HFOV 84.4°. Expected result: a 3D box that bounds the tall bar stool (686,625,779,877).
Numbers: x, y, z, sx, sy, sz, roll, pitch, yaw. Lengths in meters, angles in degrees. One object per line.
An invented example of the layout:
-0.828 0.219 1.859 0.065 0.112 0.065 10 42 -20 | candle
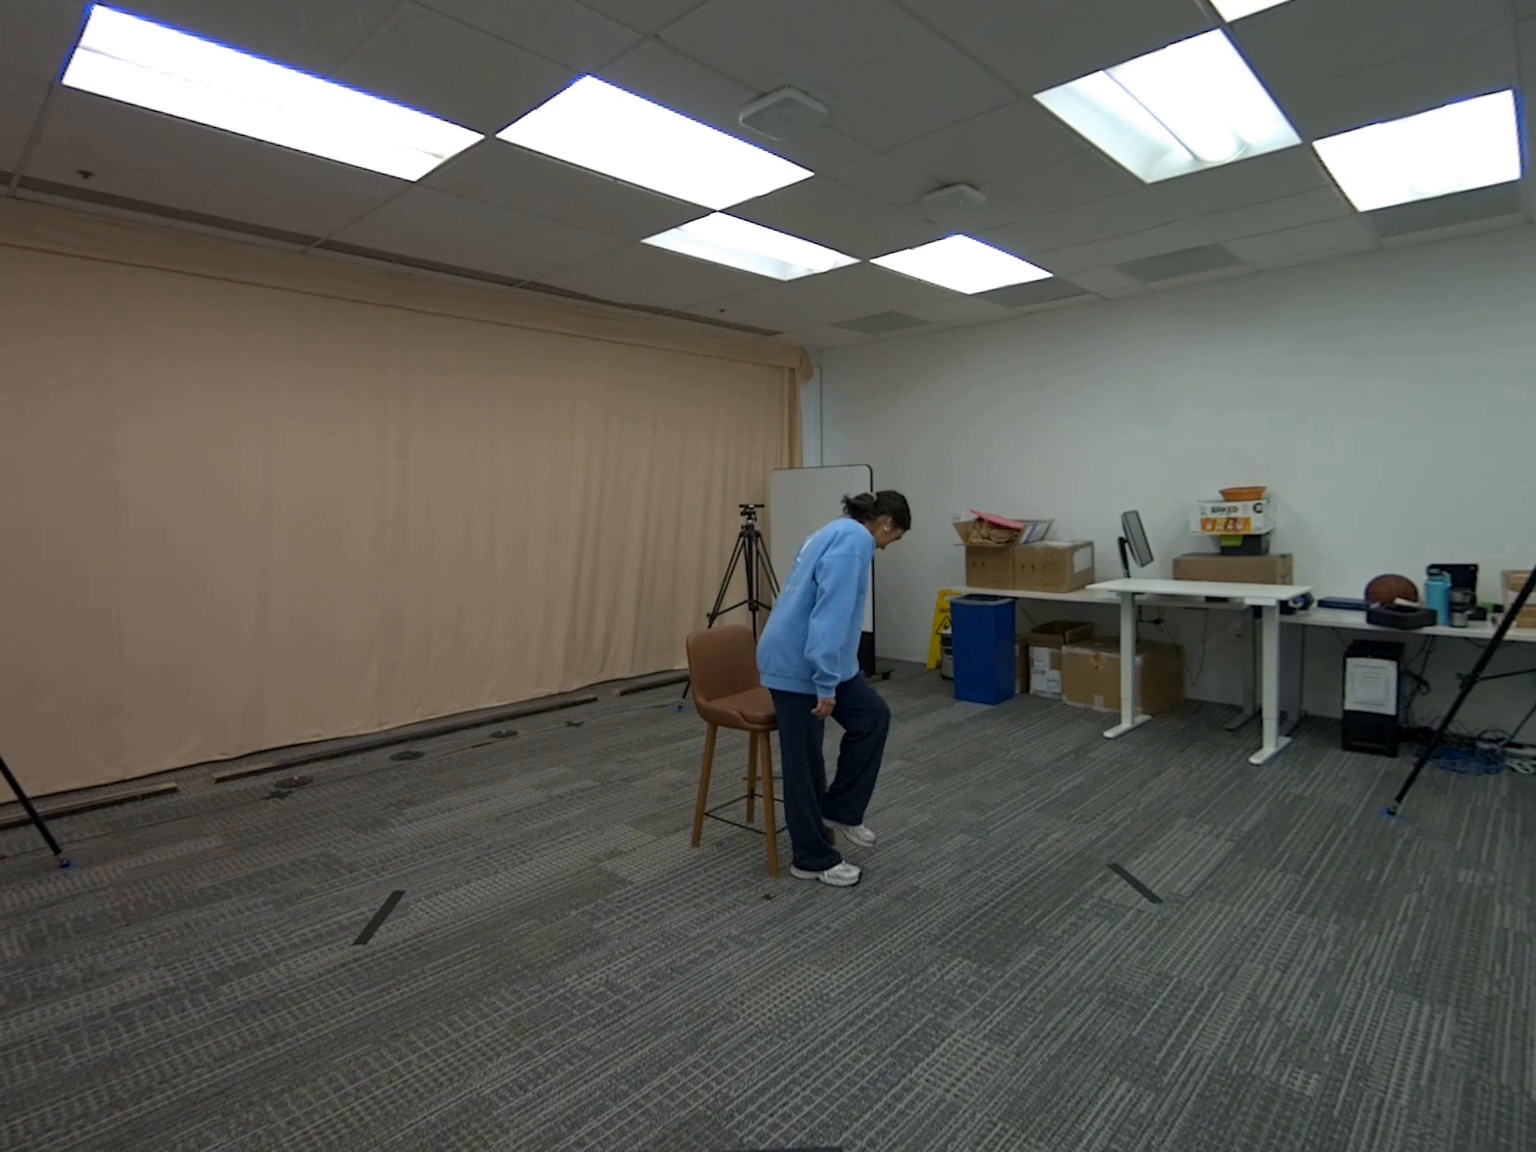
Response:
-0.033 0.662 3.415 0.483 0.888 0.443 0 3 41 | tall bar stool
